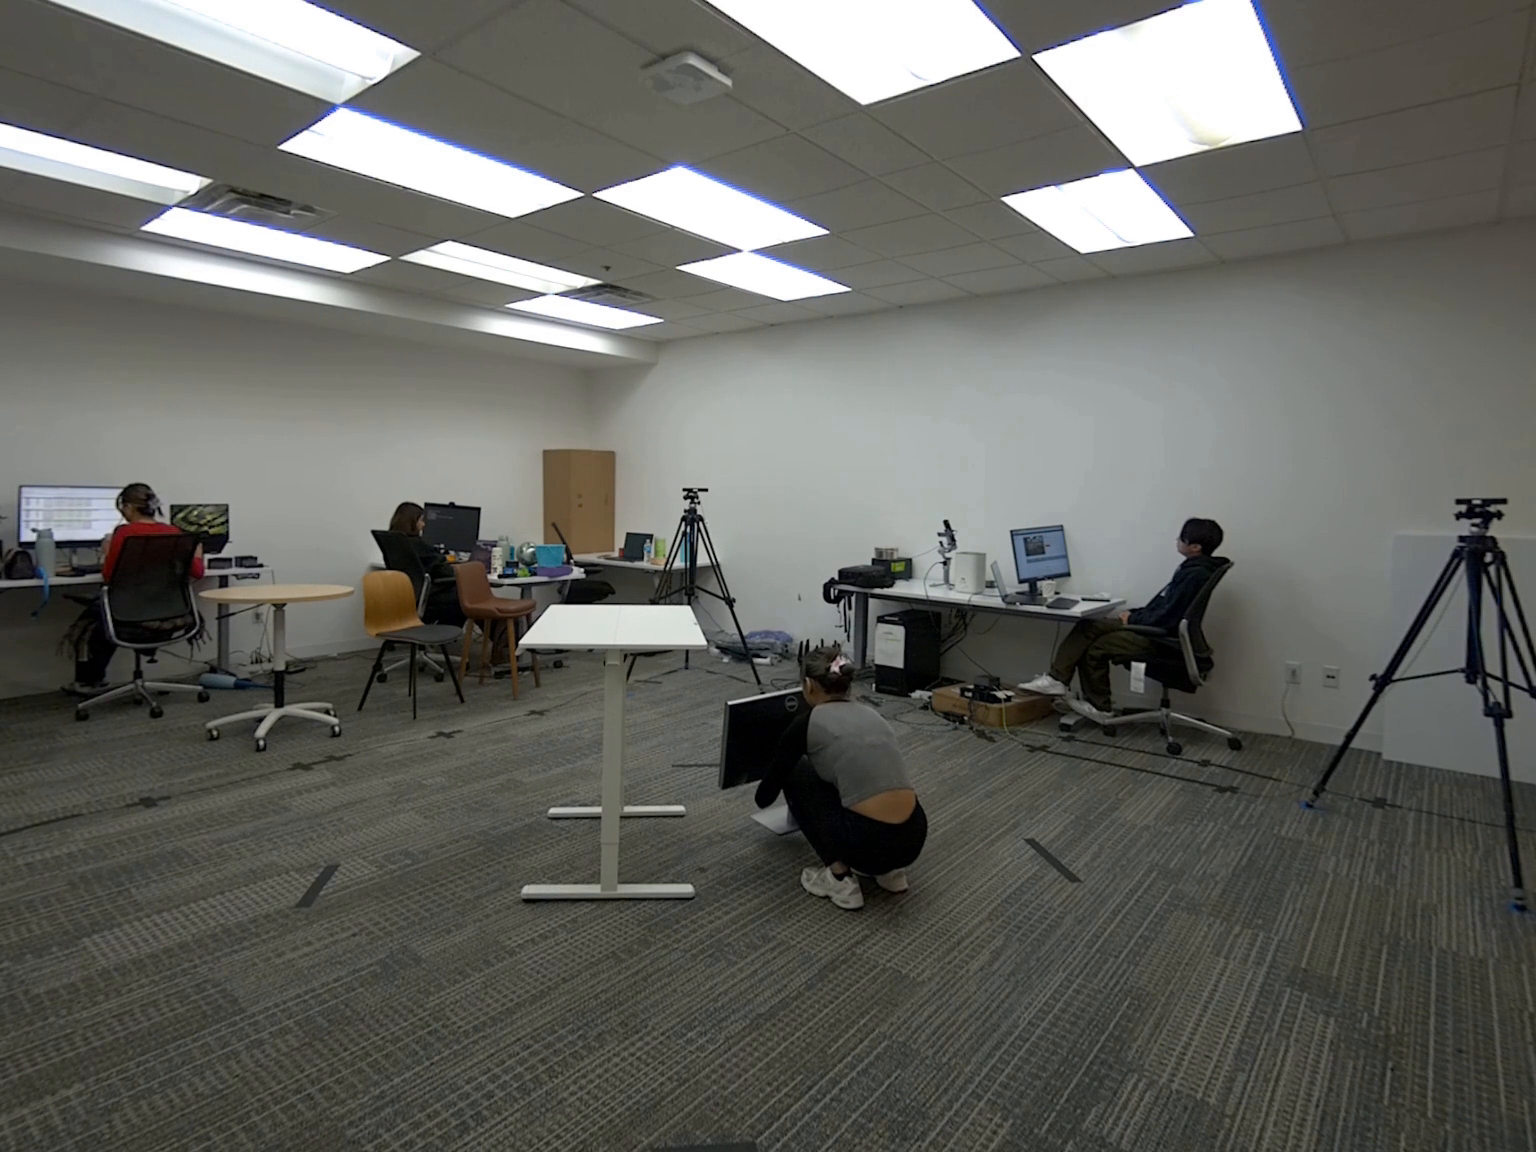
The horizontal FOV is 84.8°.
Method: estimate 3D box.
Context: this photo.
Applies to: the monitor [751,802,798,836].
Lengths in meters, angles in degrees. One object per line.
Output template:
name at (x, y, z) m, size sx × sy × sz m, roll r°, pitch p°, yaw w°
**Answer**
monitor at (0.076, 0.701, 3.356) m, size 0.524 × 0.520 × 0.193 m, roll -4°, pitch 6°, yaw -35°
